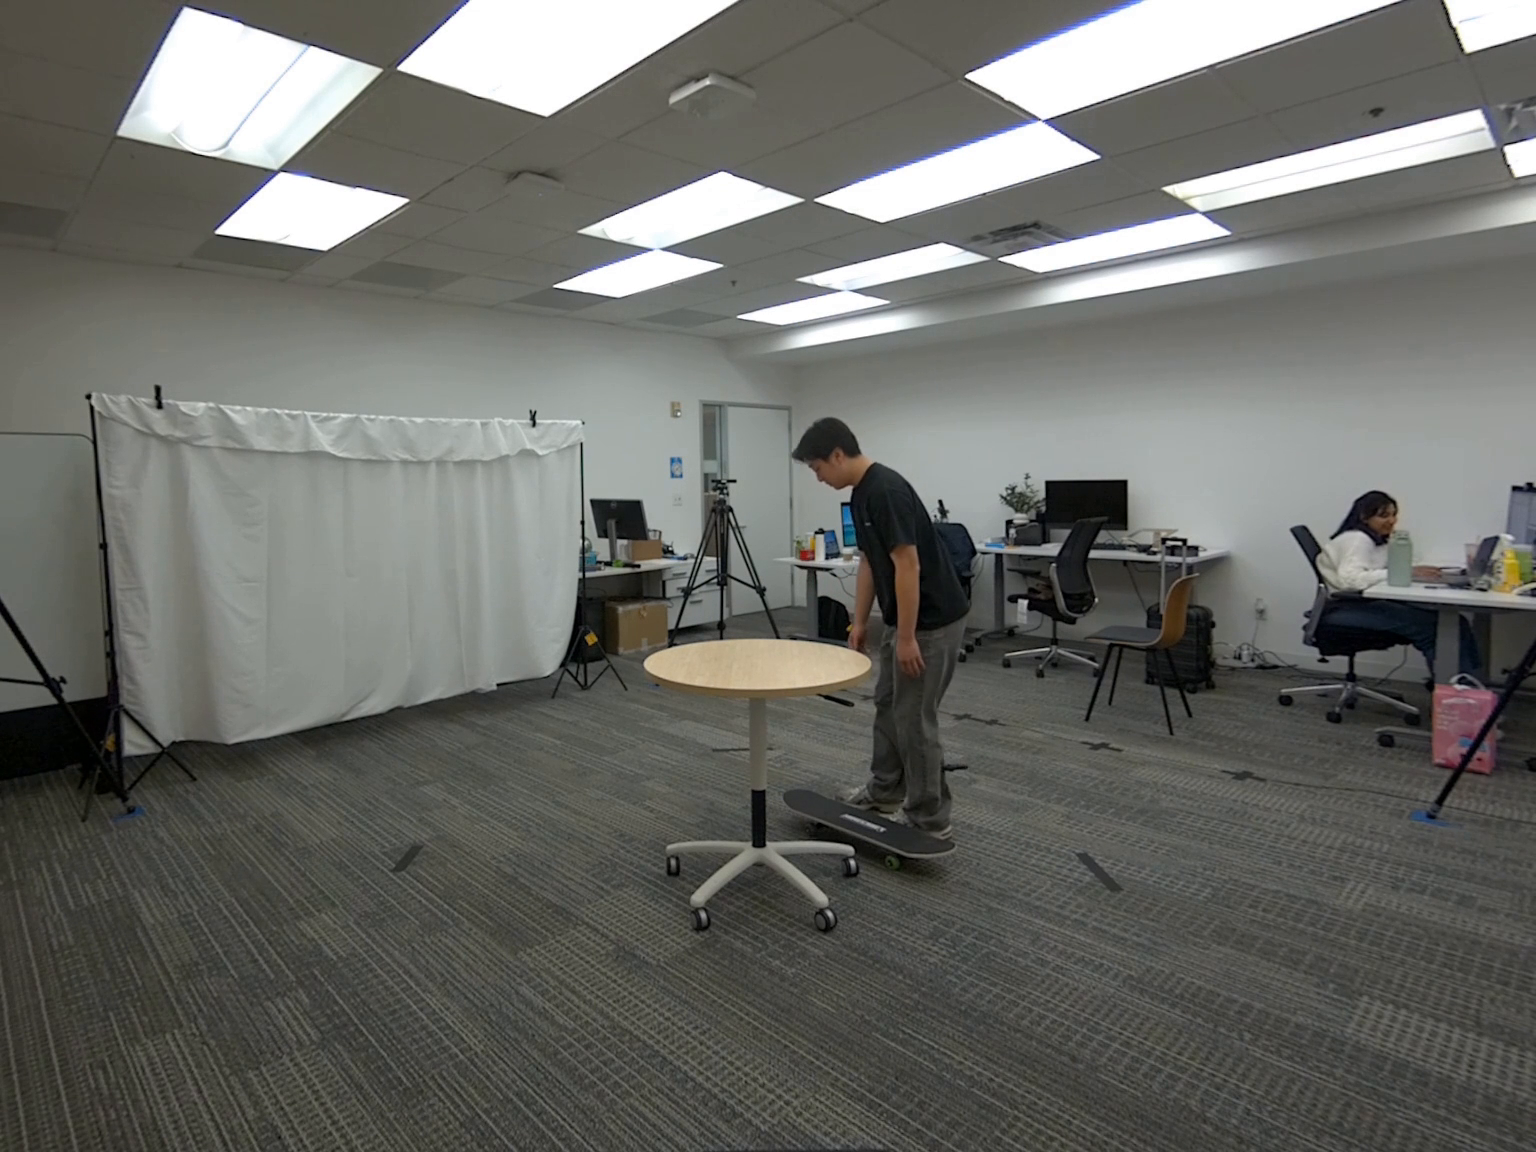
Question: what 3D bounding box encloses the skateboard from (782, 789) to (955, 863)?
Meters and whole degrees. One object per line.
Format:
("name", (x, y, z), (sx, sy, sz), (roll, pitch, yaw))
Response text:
("skateboard", (0.370, 0.976, 3.237), (0.188, 0.110, 0.810), (-8, 9, -41))
